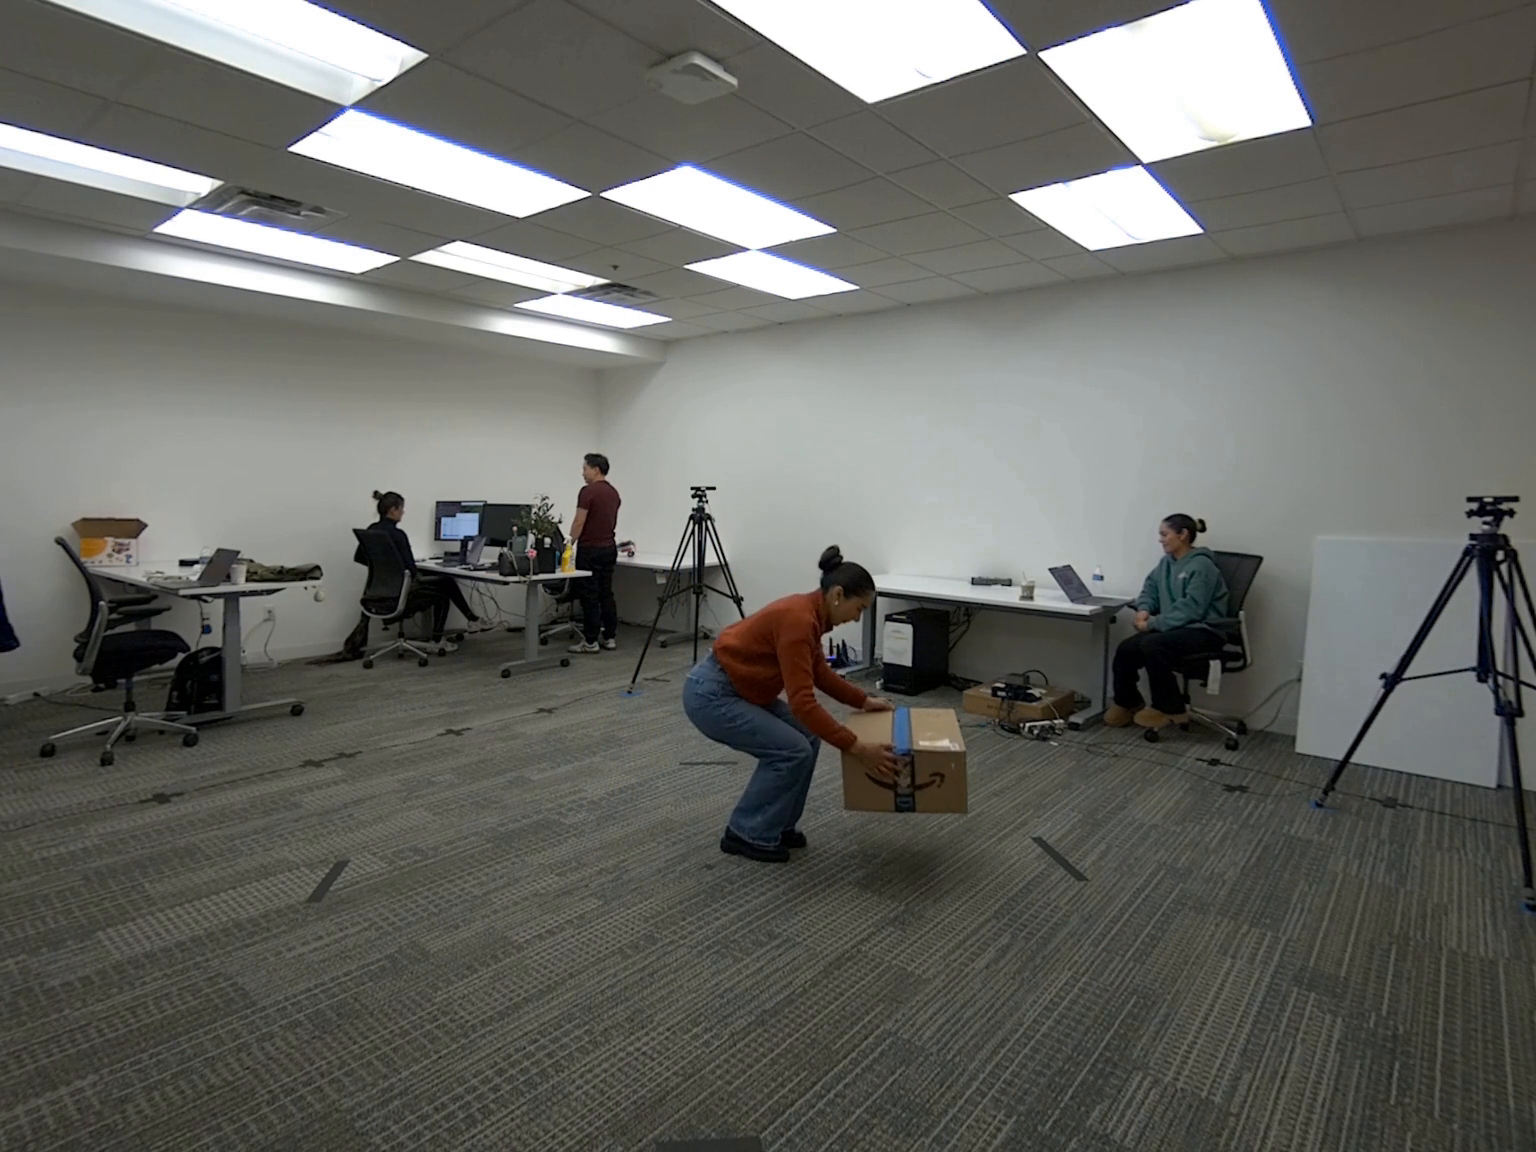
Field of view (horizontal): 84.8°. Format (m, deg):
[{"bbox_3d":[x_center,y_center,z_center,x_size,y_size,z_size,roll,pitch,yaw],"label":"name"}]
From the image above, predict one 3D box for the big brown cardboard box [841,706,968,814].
[{"bbox_3d":[0.493,0.668,3.165,0.422,0.232,0.584,-2,4,9],"label":"big brown cardboard box"}]
